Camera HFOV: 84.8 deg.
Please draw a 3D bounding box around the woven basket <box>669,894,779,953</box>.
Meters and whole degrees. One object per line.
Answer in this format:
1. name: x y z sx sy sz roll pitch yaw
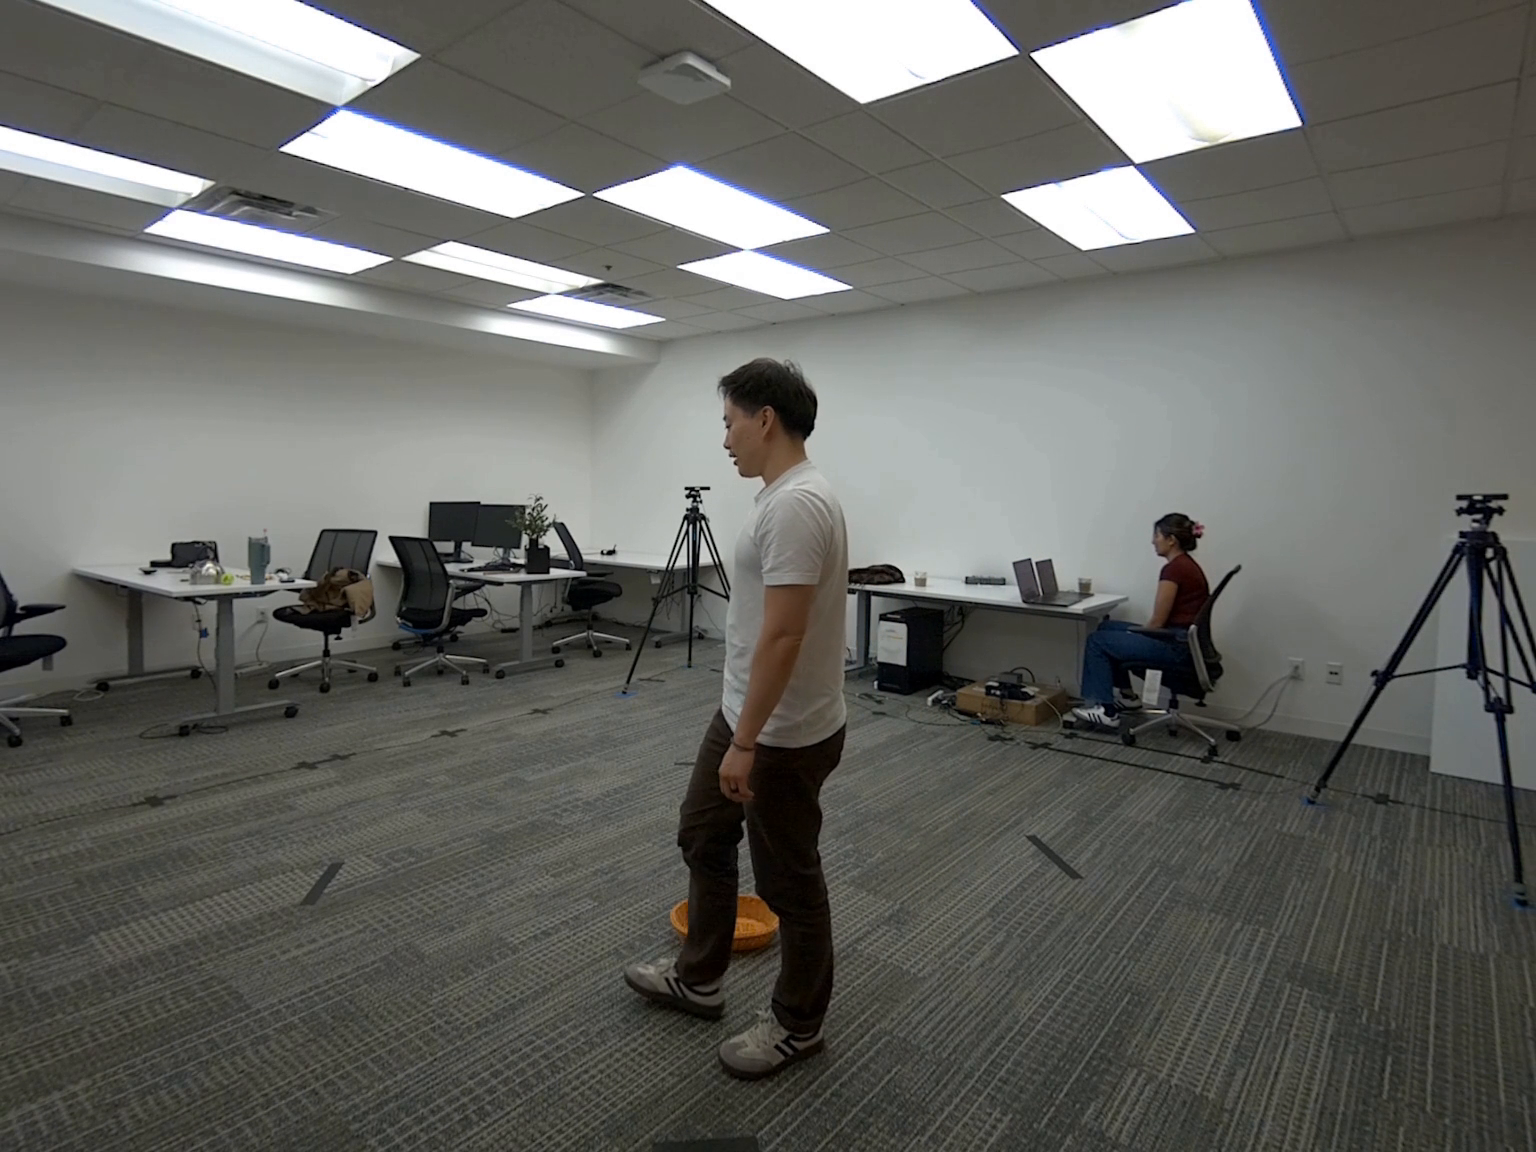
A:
1. woven basket: -0.137 1.071 2.620 0.347 0.073 0.256 0 6 -9
